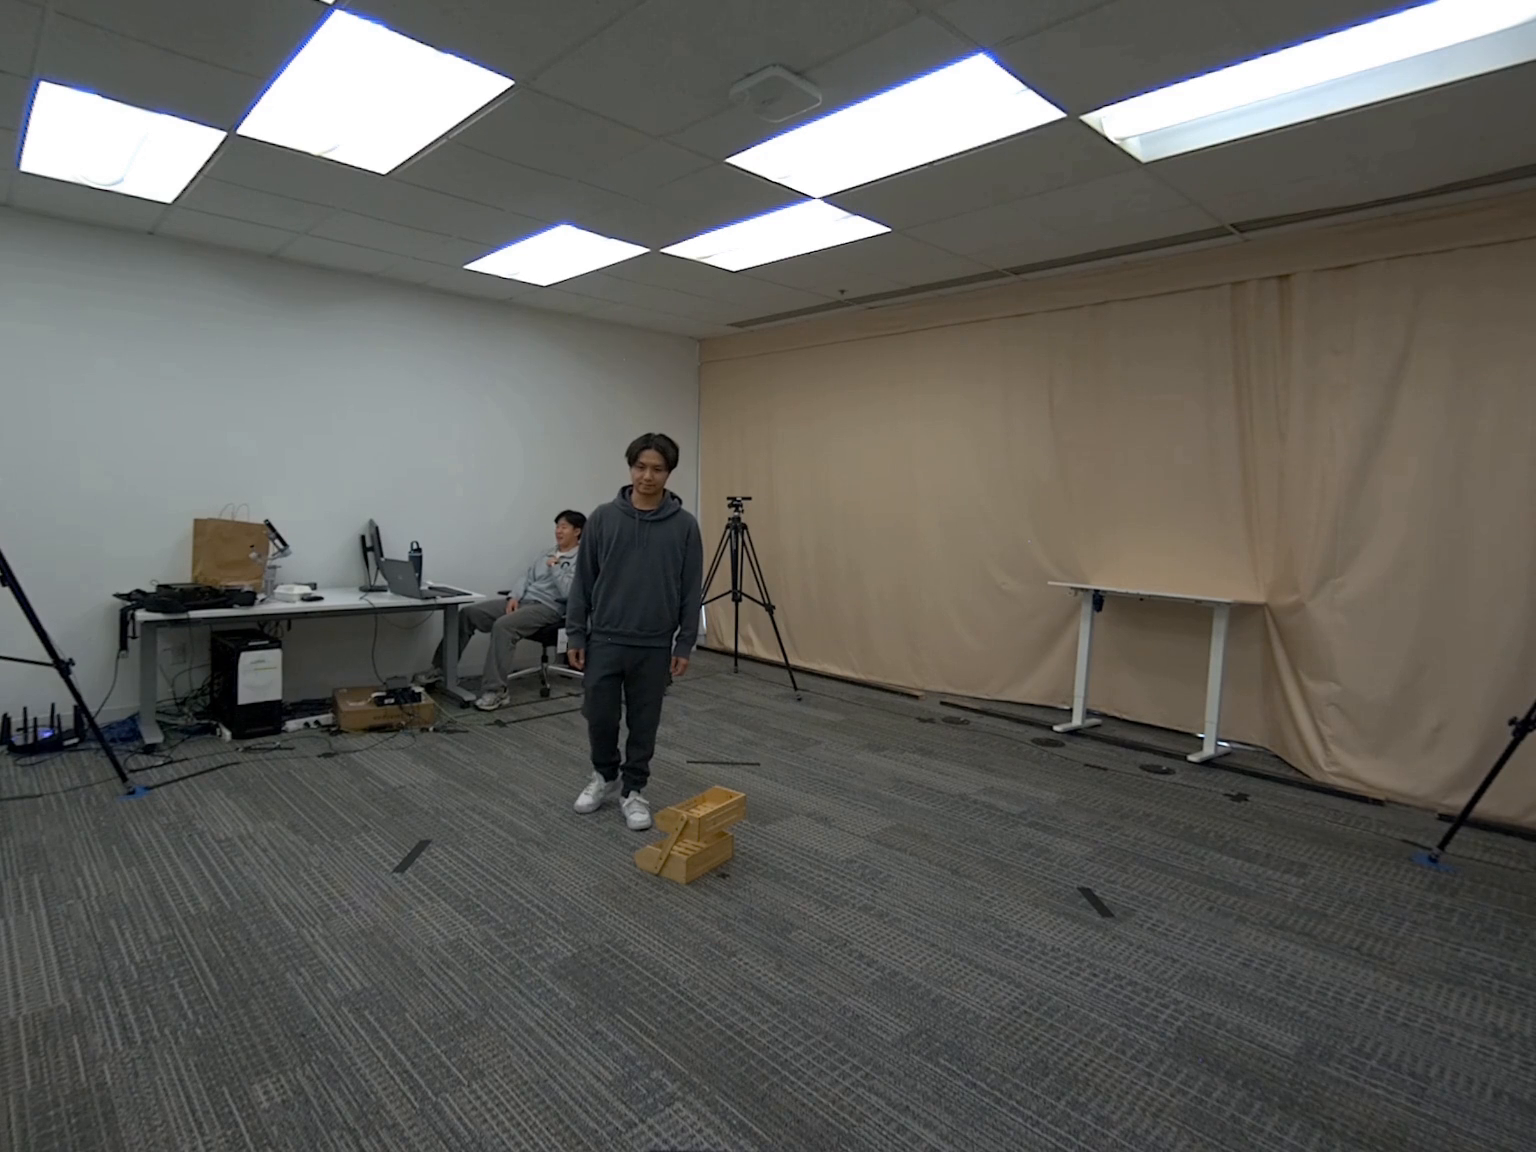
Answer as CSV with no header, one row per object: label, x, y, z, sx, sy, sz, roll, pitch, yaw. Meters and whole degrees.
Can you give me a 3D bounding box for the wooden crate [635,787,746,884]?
wooden crate,-0.302,0.960,3.196,0.309,0.272,0.318,5,5,34
